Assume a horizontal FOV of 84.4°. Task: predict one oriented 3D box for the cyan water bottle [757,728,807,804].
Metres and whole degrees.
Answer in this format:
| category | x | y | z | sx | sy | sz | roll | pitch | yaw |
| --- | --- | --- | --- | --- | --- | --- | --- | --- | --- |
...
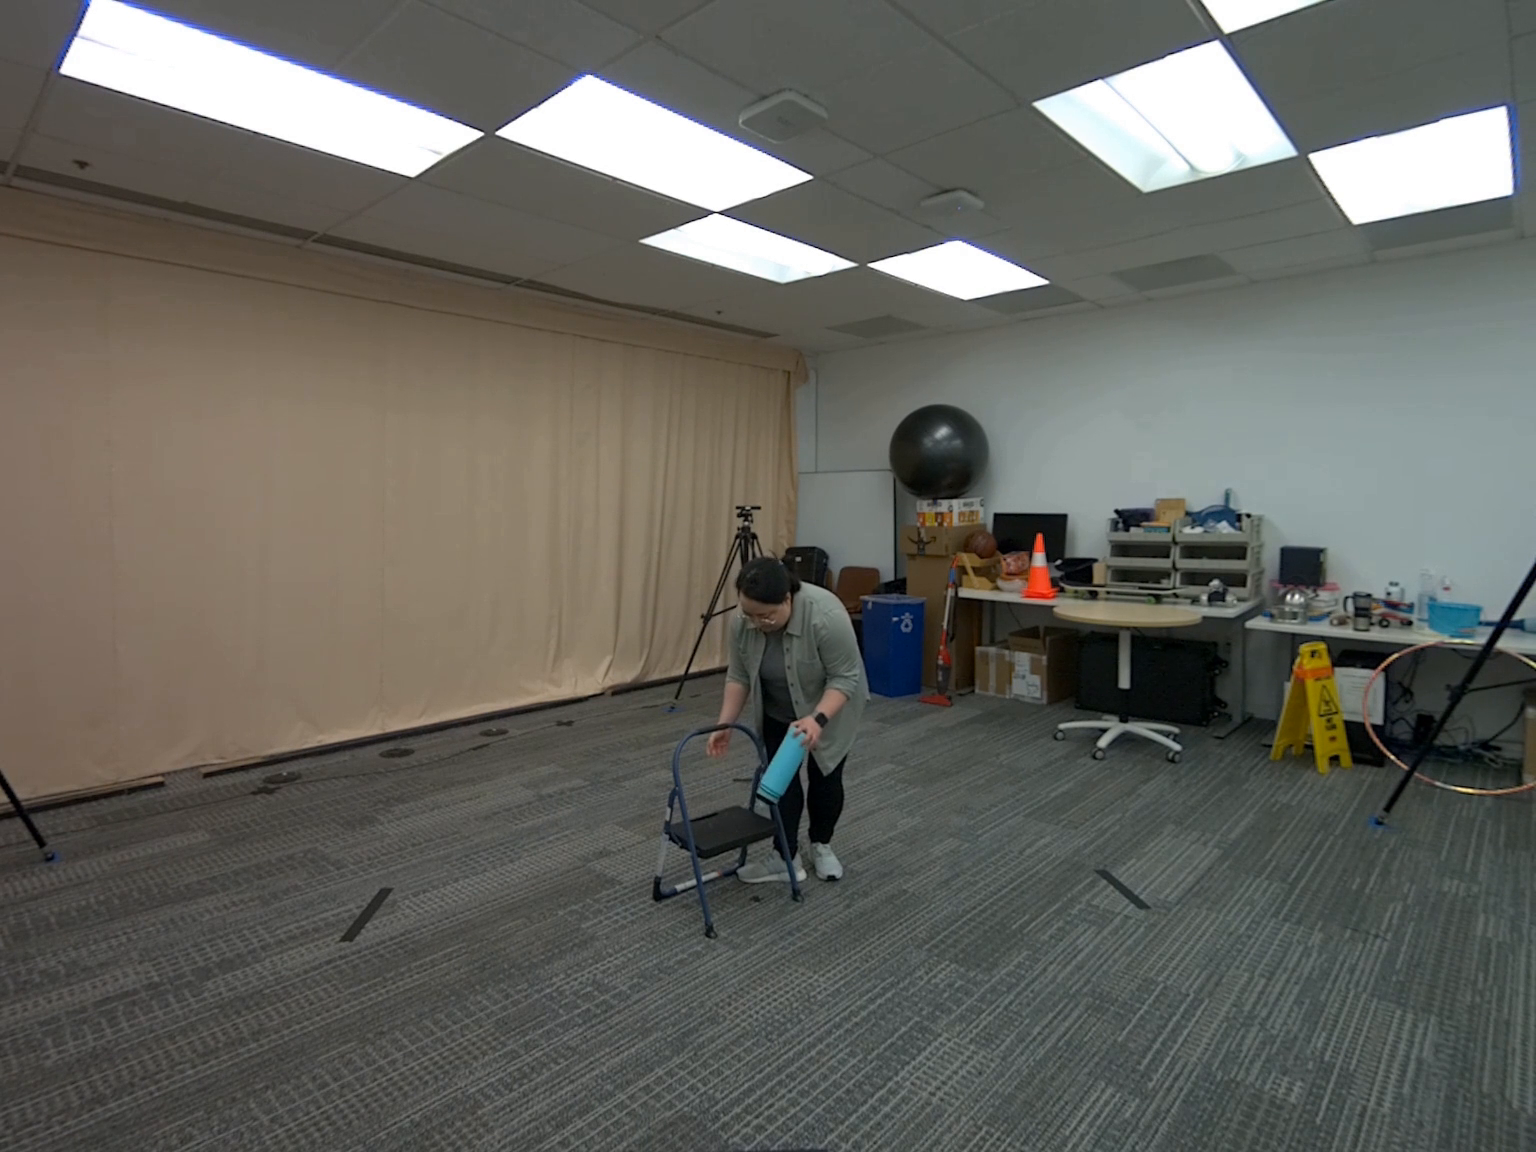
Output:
| category | x | y | z | sx | sy | sz | roll | pitch | yaw |
| --- | --- | --- | --- | --- | --- | --- | --- | --- | --- |
| cyan water bottle | 0.039 | 0.655 | 2.878 | 0.092 | 0.283 | 0.092 | 29 | -2 | -1 |
